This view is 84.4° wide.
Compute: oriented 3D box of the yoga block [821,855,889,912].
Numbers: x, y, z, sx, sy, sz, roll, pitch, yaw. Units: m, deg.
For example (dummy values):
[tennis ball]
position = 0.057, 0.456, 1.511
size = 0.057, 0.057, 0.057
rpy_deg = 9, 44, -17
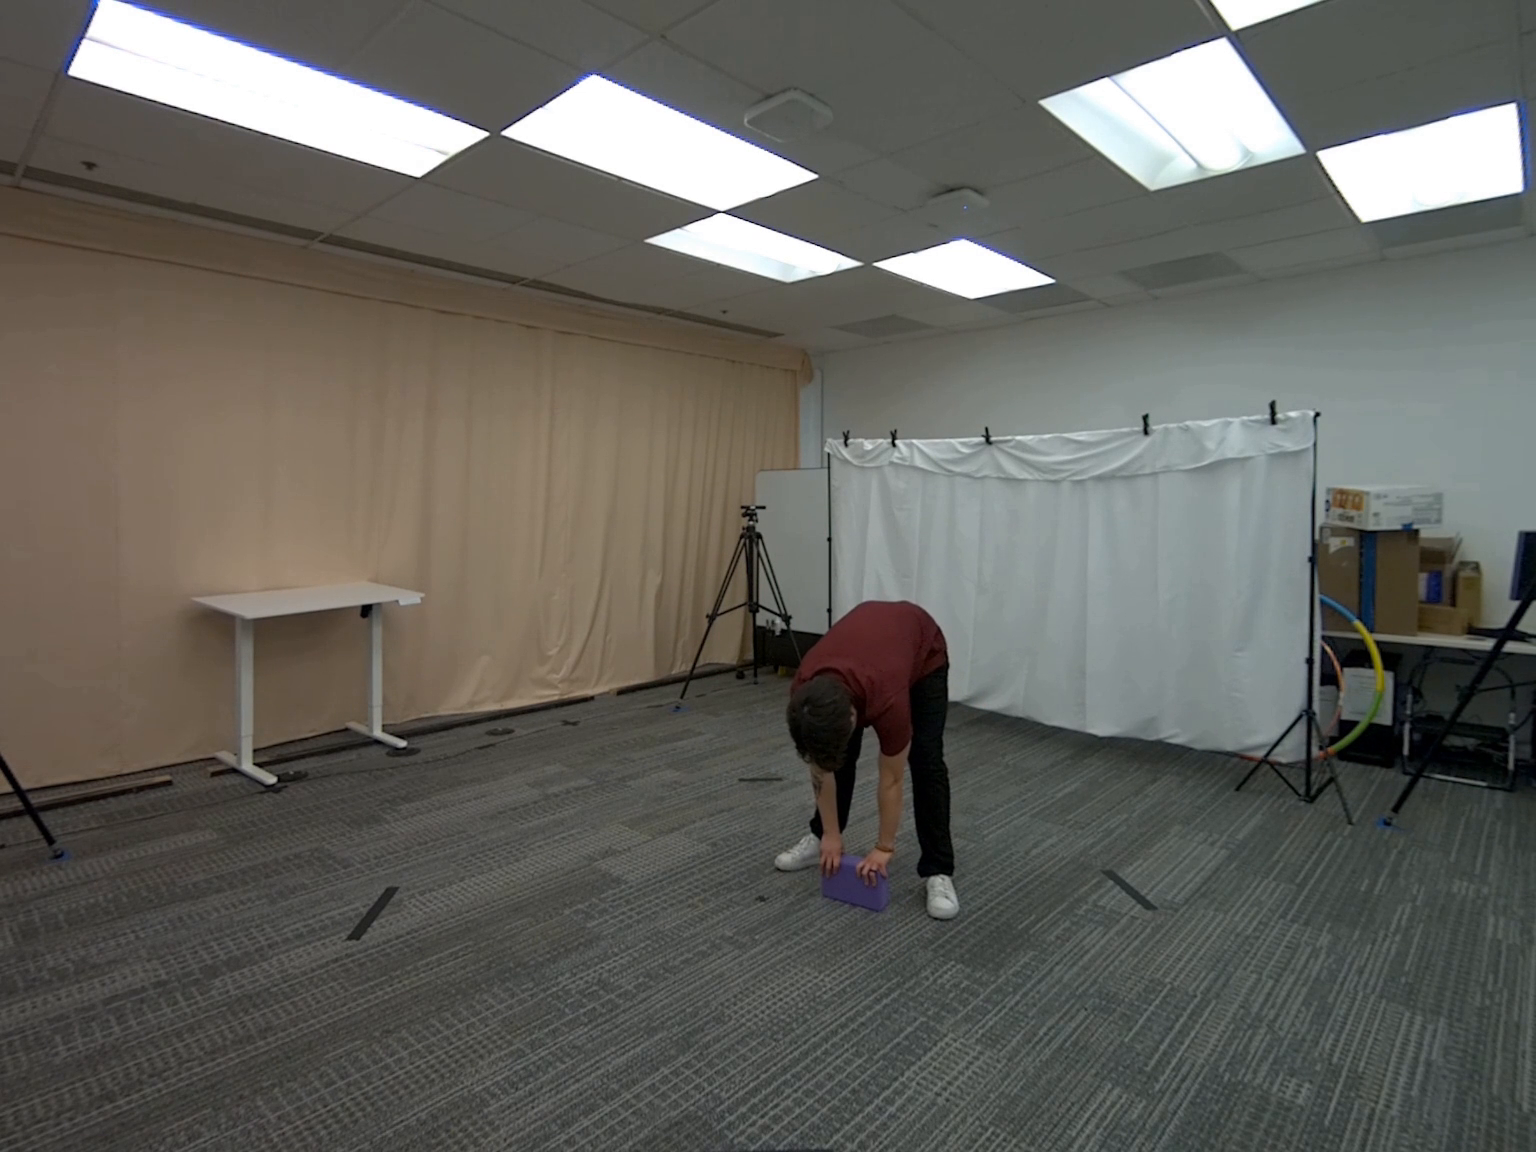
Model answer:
[yoga block]
position = 0.316, 1.073, 2.973
size = 0.236, 0.149, 0.074
rpy_deg = 3, -1, 33
